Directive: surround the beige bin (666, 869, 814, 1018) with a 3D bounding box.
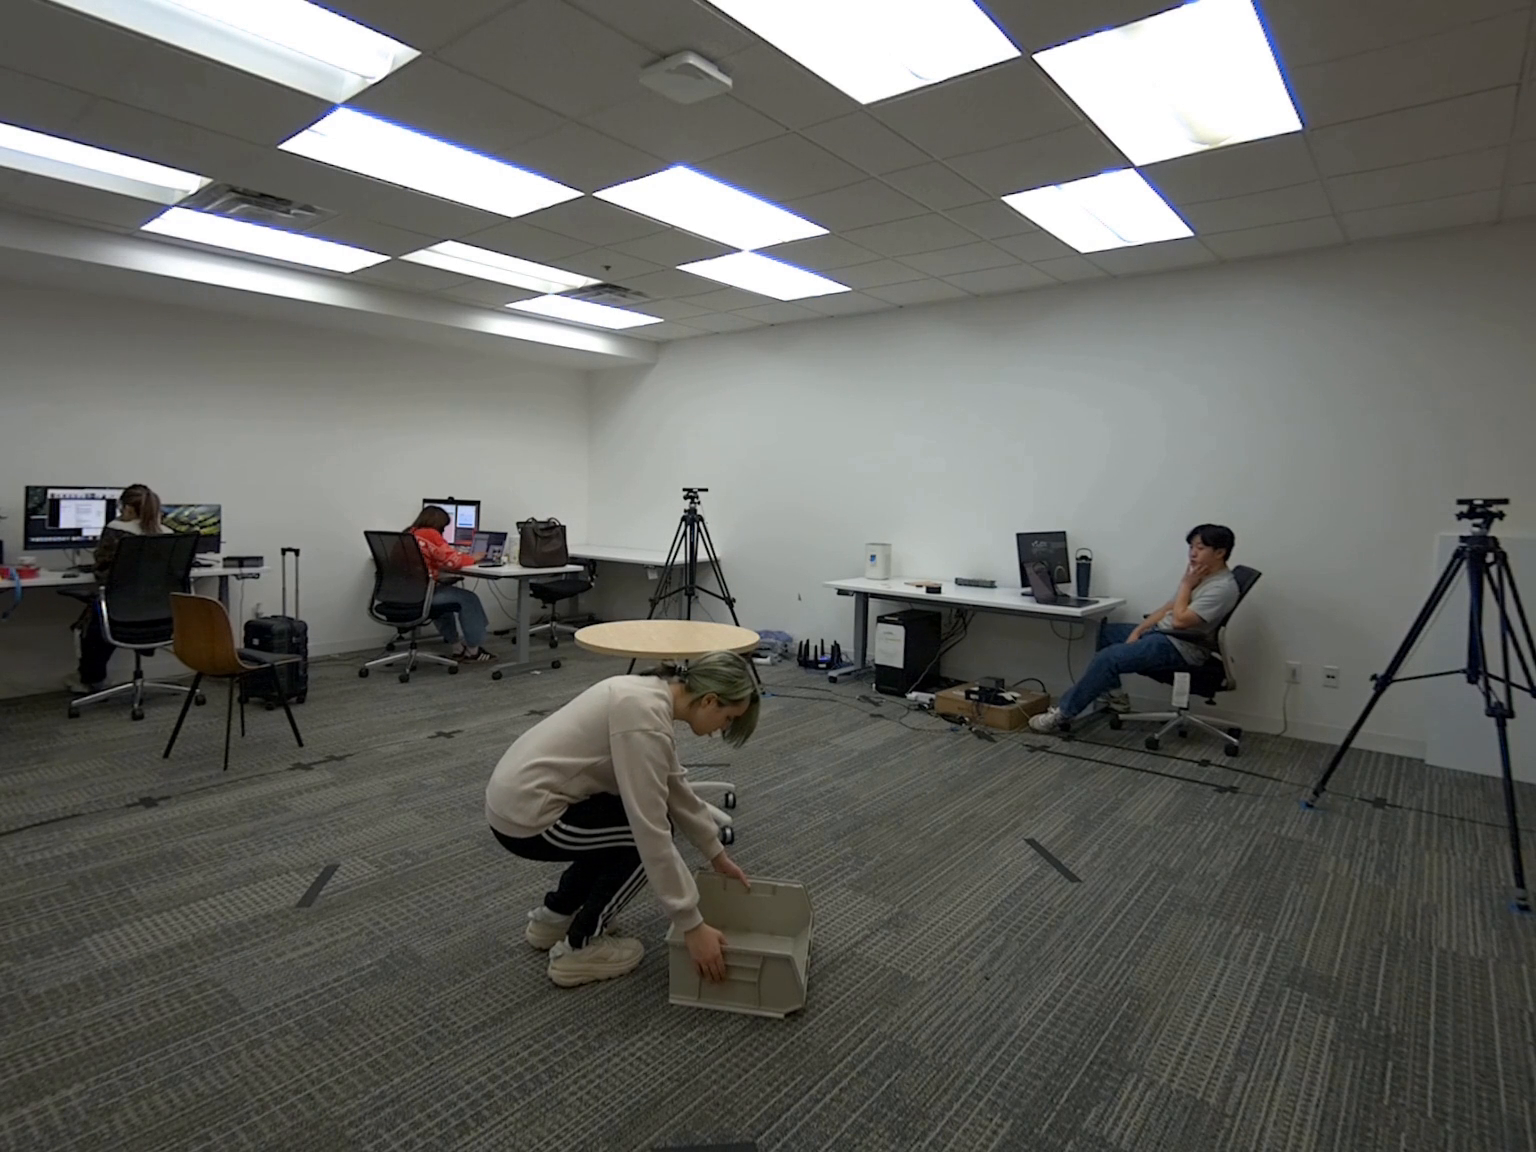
[{"bbox_3d":[-0.072,1.055,2.449,0.381,0.188,0.420,2,6,8],"label":"beige bin"}]
